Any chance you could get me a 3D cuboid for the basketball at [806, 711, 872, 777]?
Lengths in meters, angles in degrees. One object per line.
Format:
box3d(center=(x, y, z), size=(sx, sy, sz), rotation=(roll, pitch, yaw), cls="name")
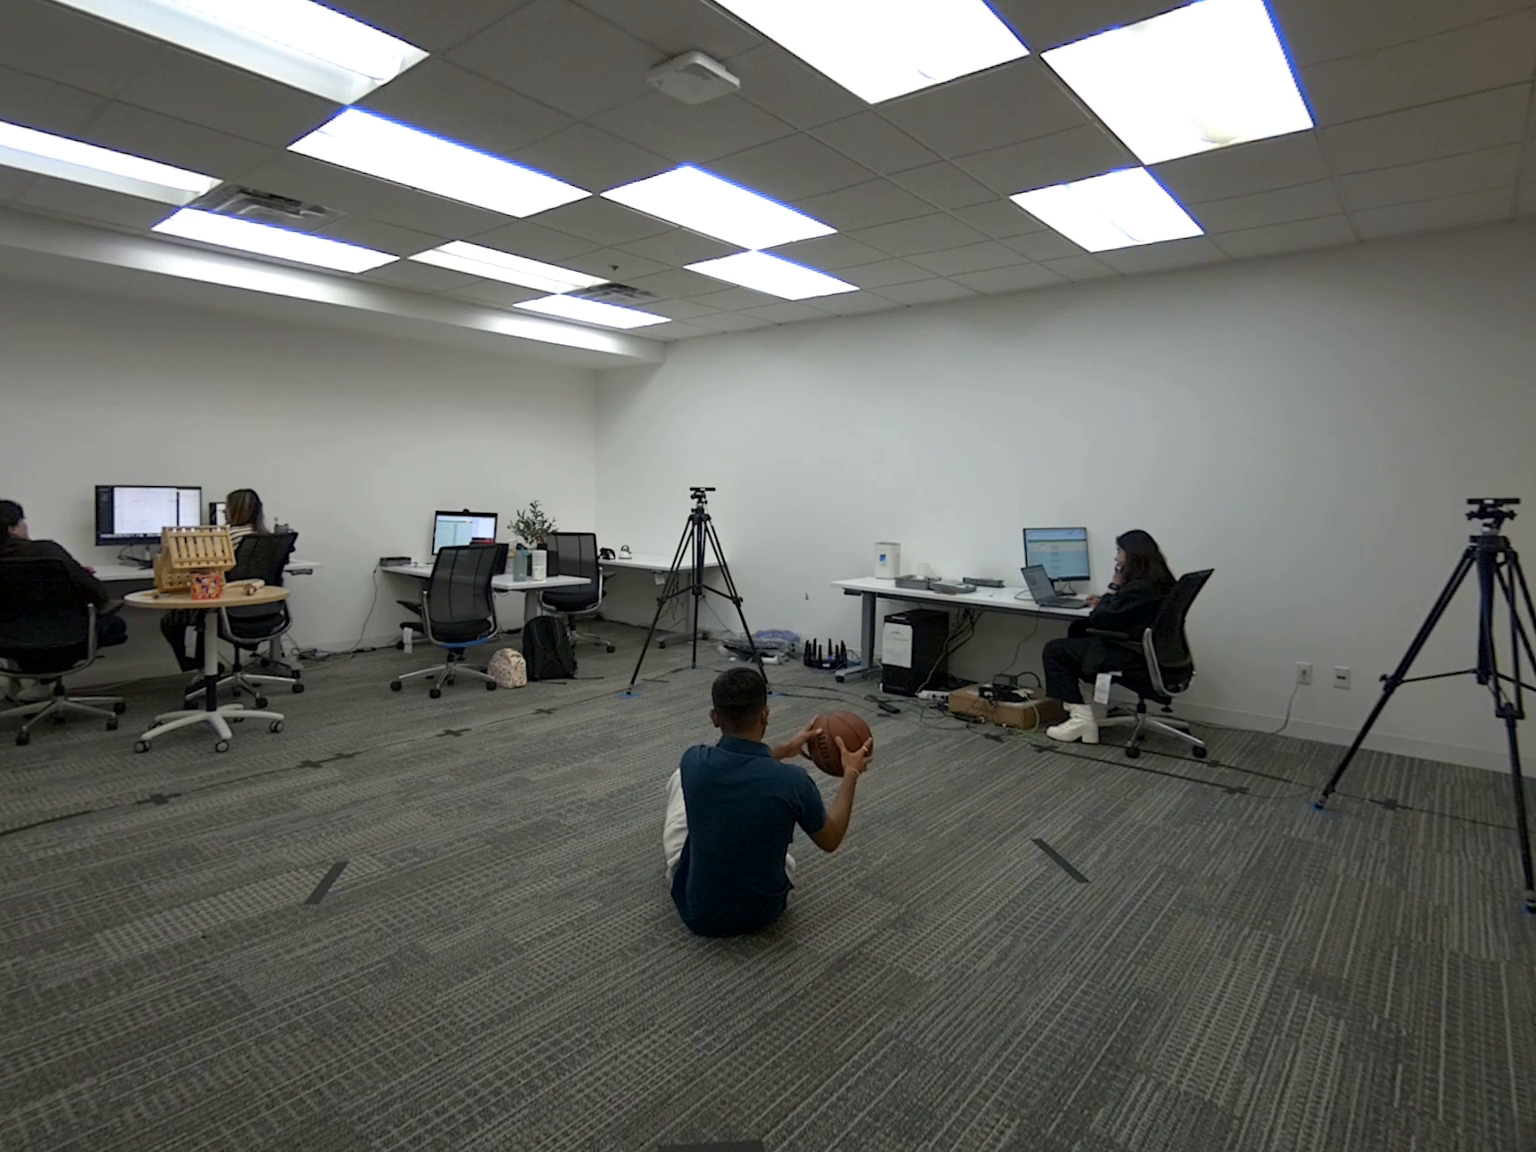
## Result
box3d(center=(0.250, 0.616, 3.103), size=(0.235, 0.235, 0.237), rotation=(1, 4, -2), cls="basketball")
